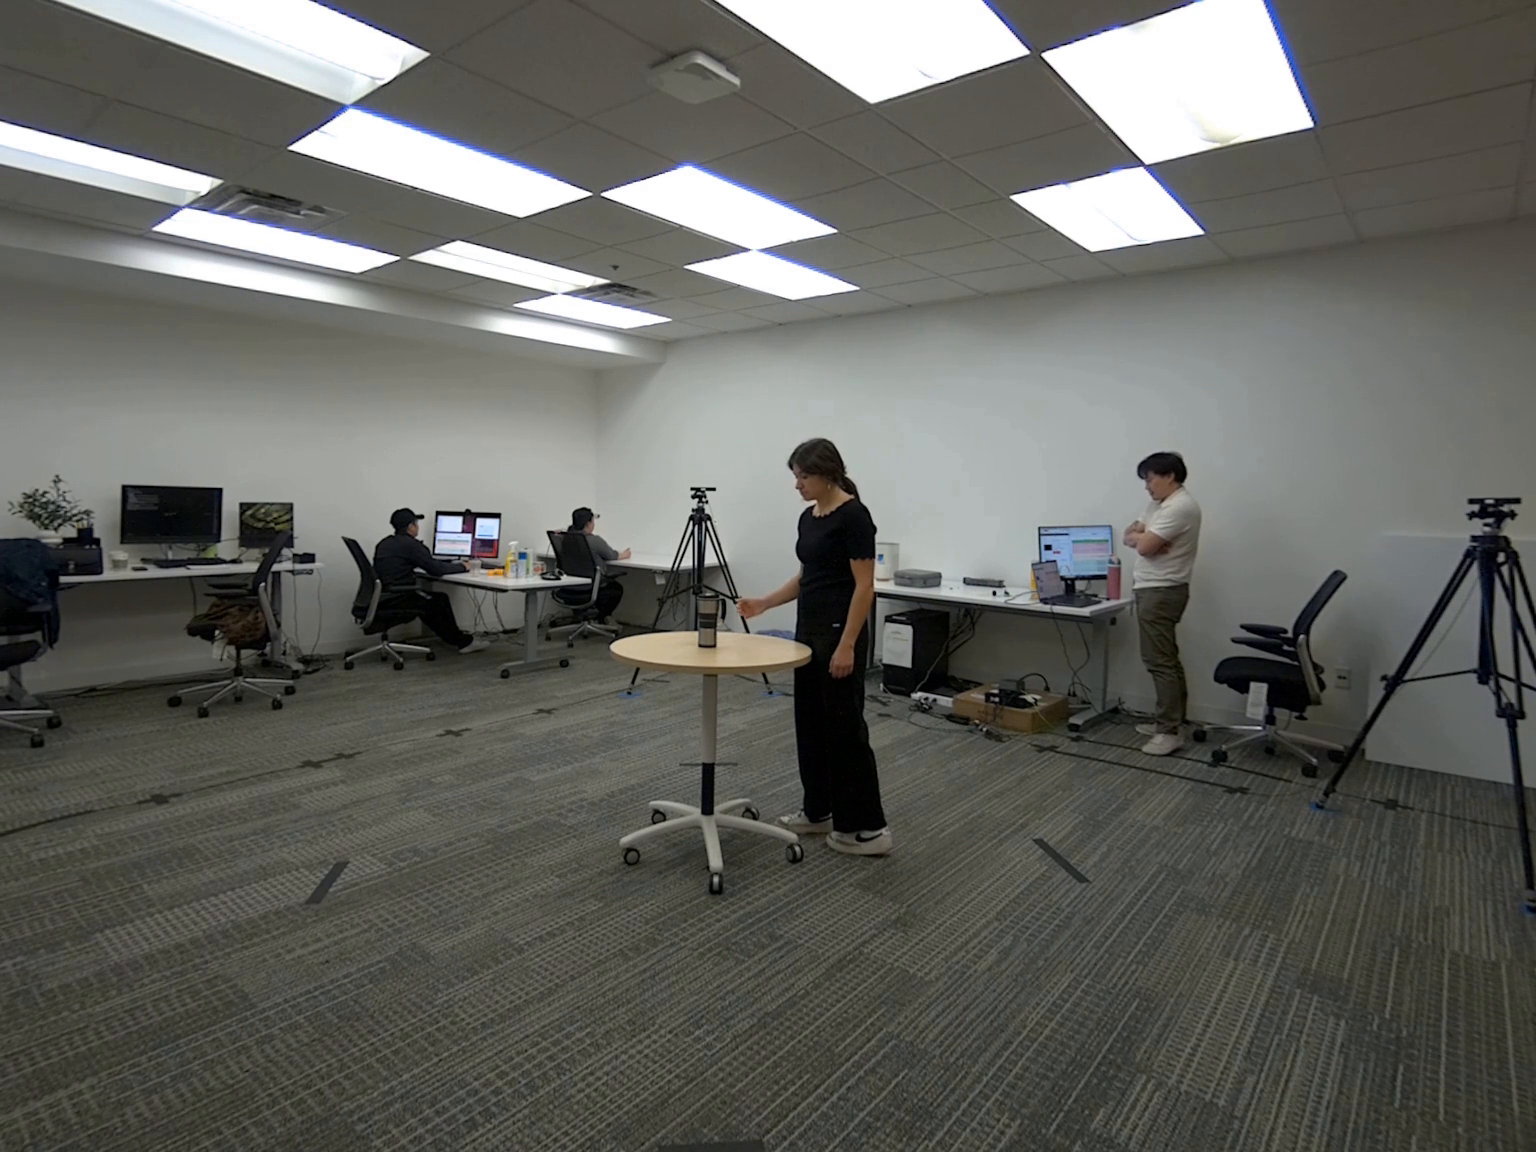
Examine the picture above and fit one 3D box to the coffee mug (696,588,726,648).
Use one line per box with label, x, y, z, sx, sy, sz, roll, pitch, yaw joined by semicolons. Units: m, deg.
coffee mug;-0.224;0.170;3.246;0.125;0.203;0.085;-1;-3;30
